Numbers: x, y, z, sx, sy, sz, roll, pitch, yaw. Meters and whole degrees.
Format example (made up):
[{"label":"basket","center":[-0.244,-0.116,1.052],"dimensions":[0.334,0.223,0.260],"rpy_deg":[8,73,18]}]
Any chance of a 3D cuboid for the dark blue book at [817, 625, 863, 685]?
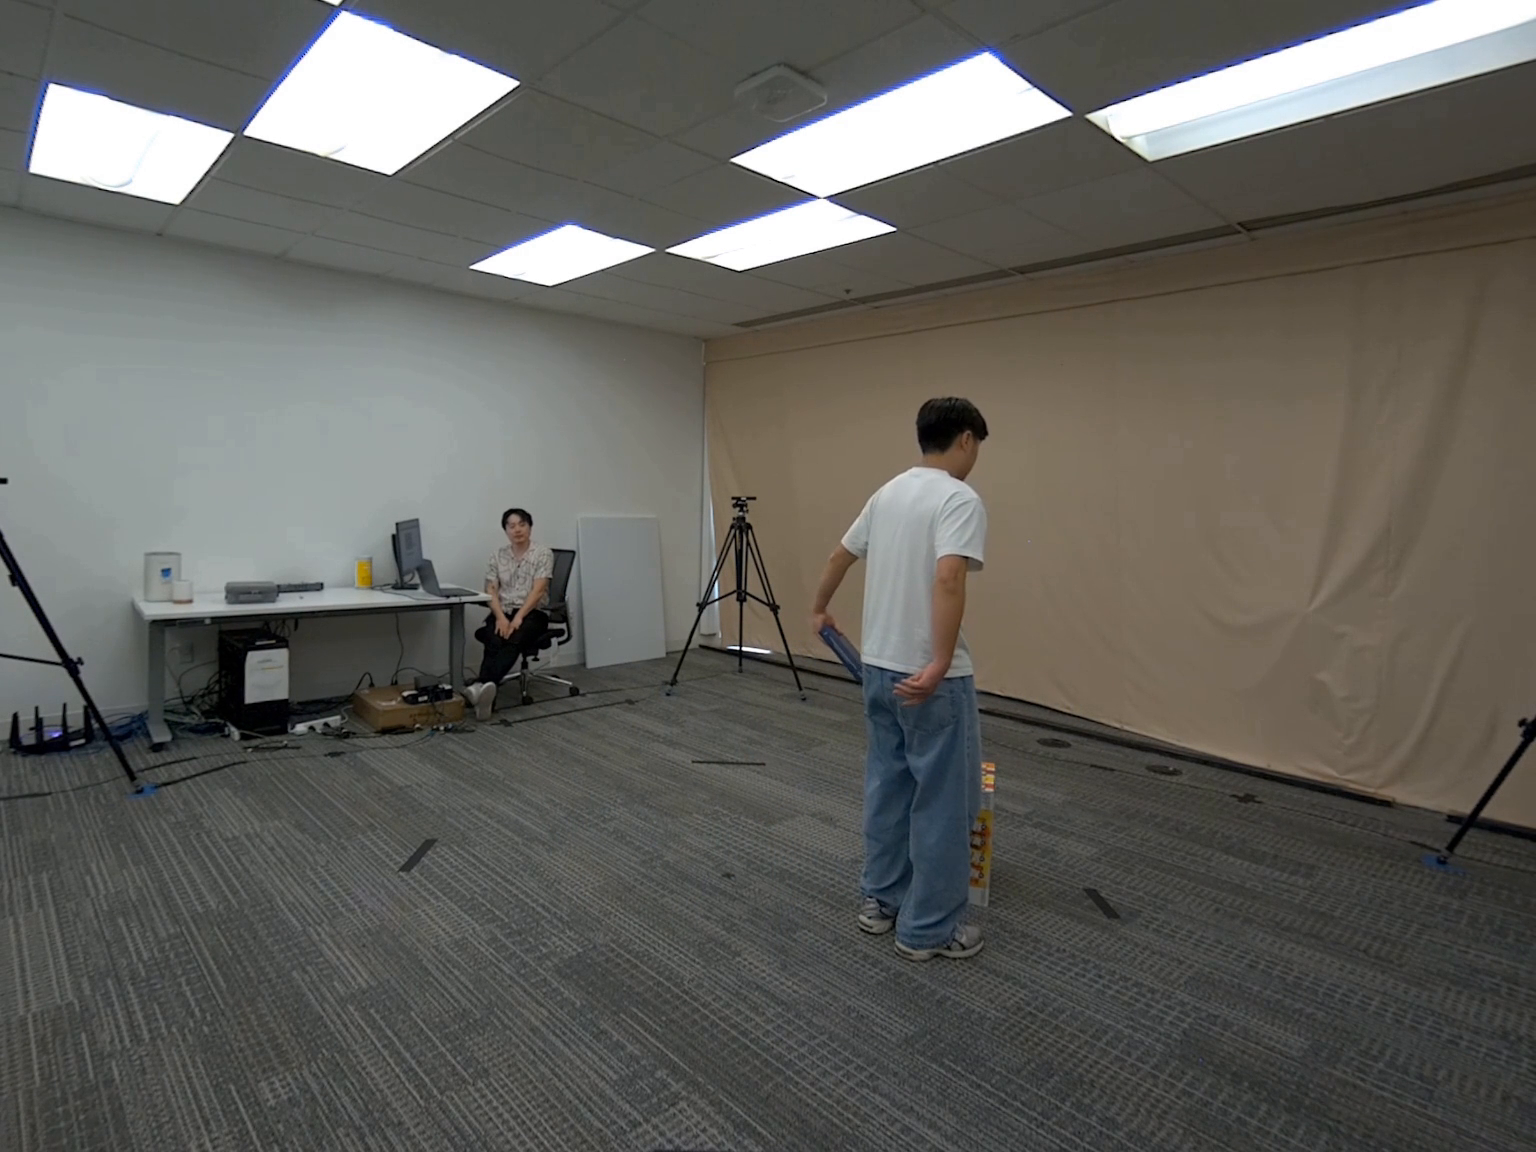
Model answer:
[{"label":"dark blue book","center":[0.293,0.289,3.045],"dimensions":[0.251,0.045,0.159],"rpy_deg":[50,12,24]}]
